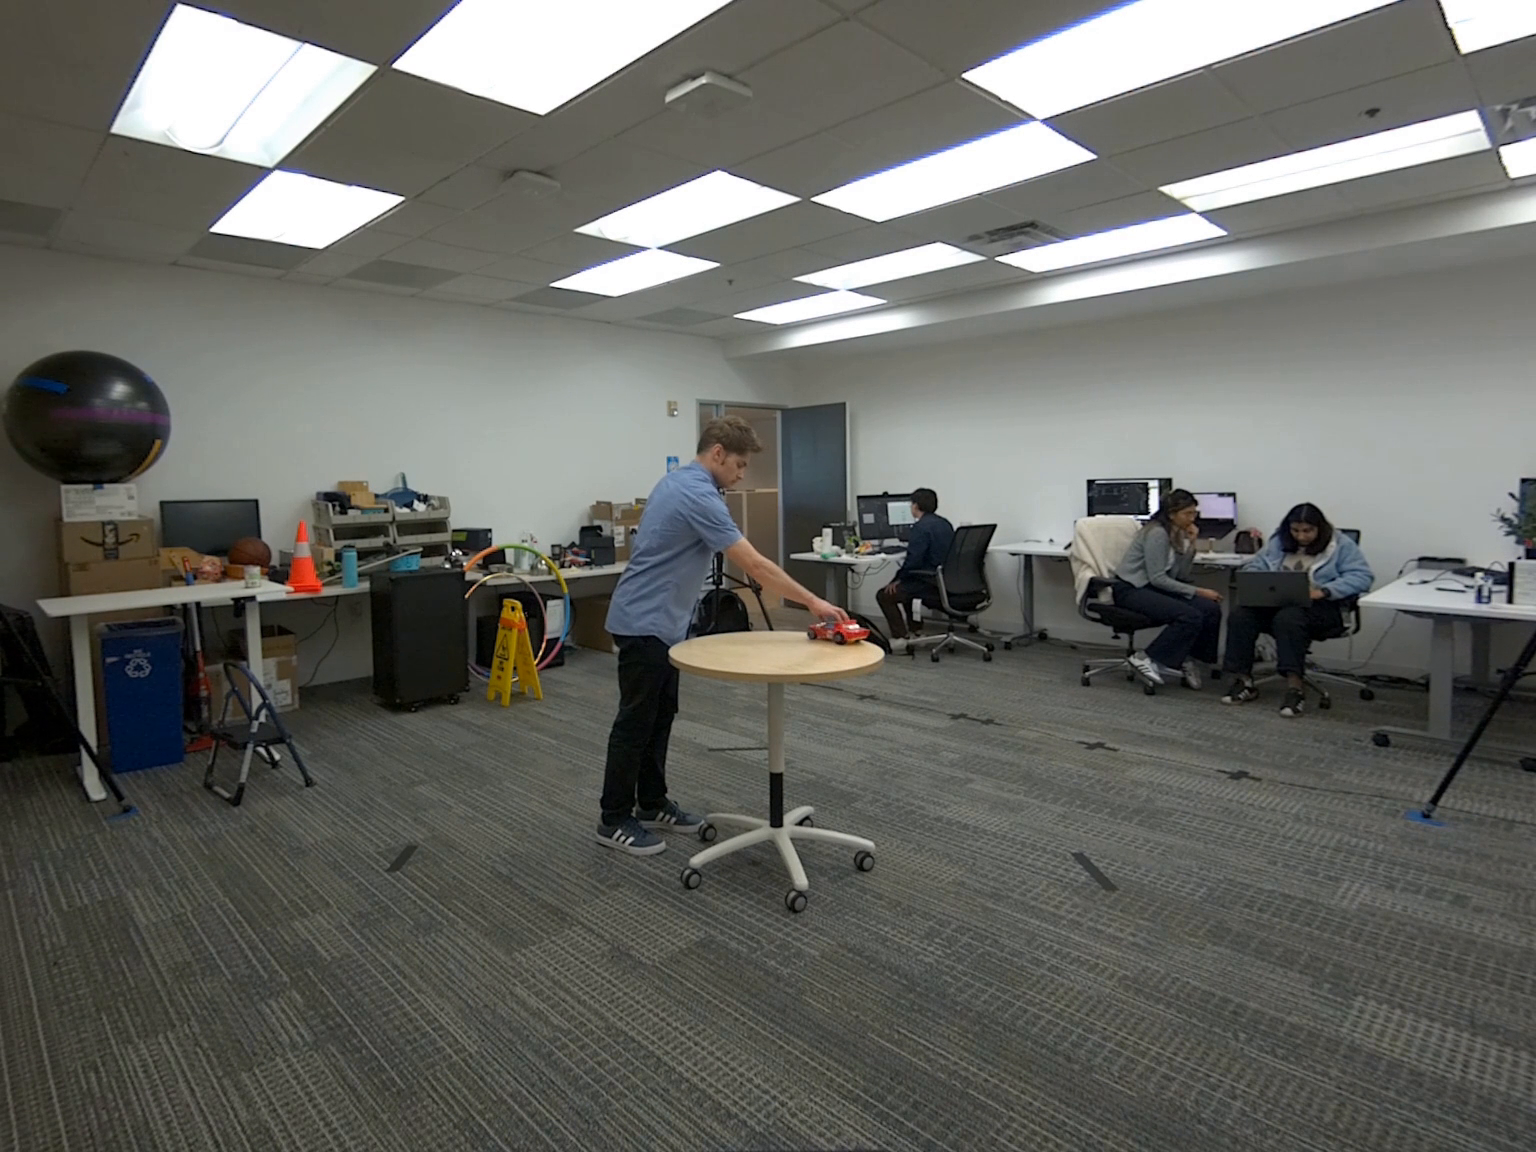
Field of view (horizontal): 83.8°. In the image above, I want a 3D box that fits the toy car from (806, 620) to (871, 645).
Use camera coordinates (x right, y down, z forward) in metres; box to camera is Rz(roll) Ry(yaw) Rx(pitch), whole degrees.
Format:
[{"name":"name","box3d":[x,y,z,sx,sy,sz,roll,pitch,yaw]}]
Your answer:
[{"name":"toy car","box3d":[0.266,0.214,3.209,0.127,0.083,0.260,-4,-4,-40]}]
